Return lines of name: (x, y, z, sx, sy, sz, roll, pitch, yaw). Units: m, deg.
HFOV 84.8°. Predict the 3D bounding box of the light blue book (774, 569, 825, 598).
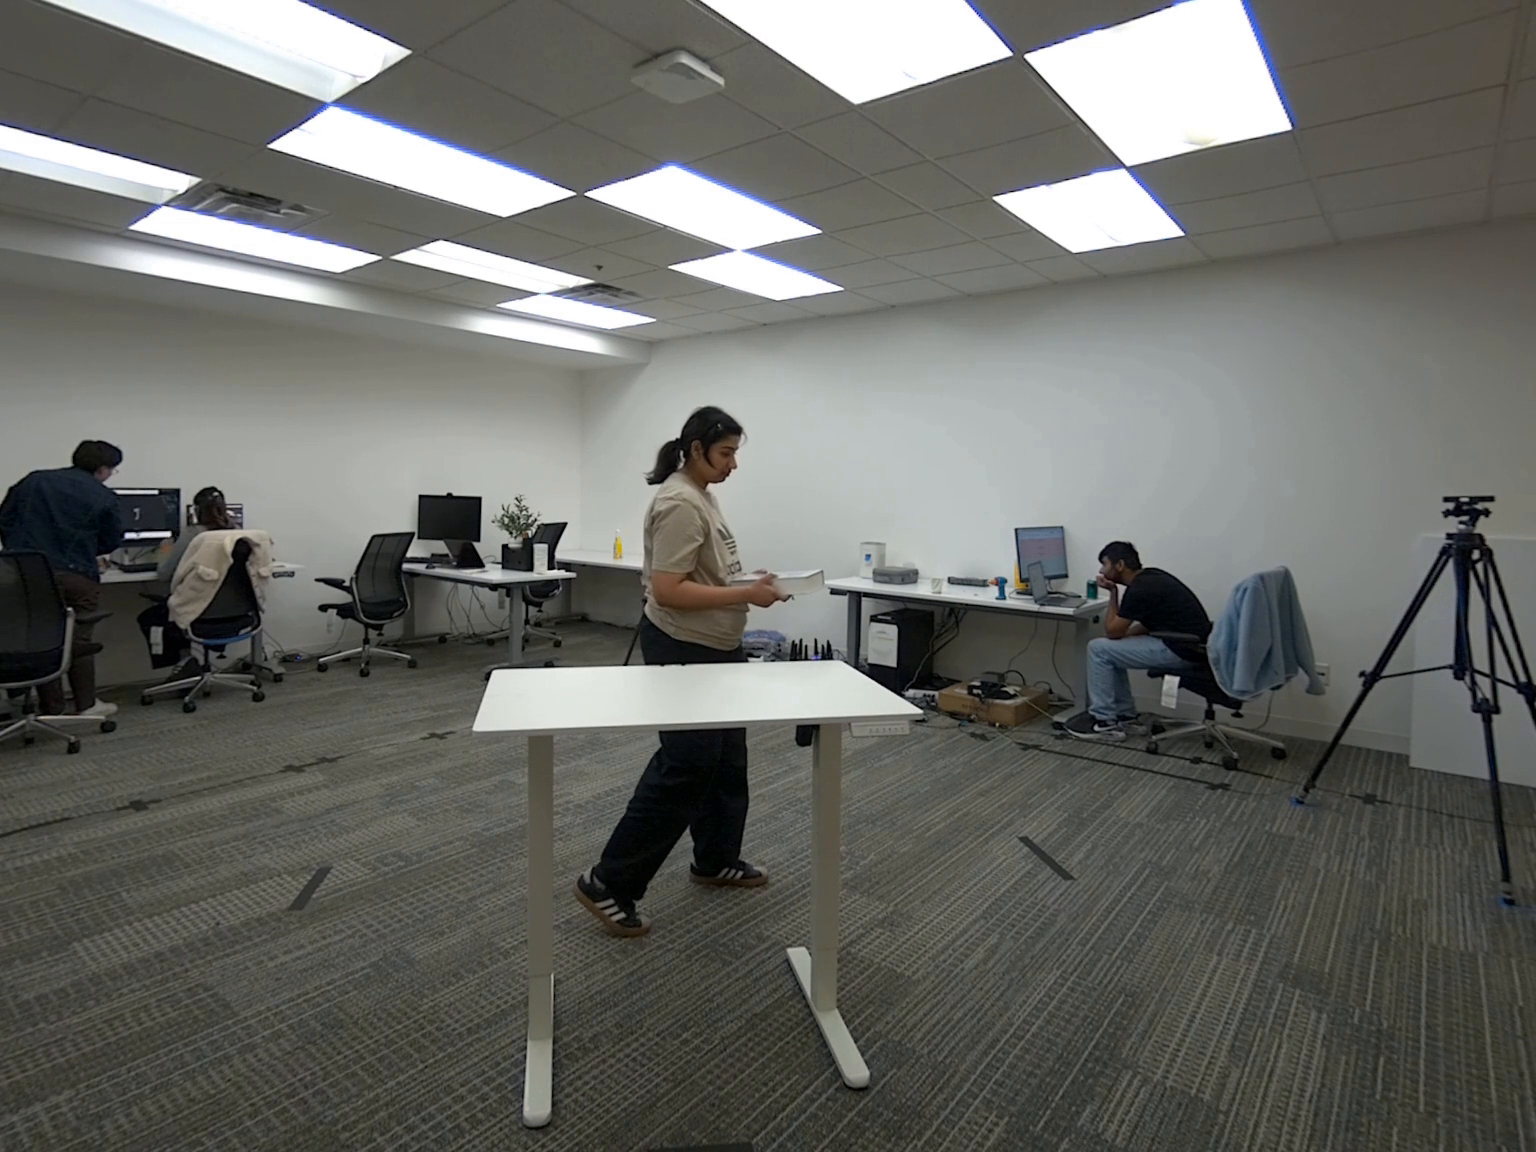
light blue book: (0.025, 0.027, 2.757, 0.197, 0.058, 0.255, 1, 10, 36)
